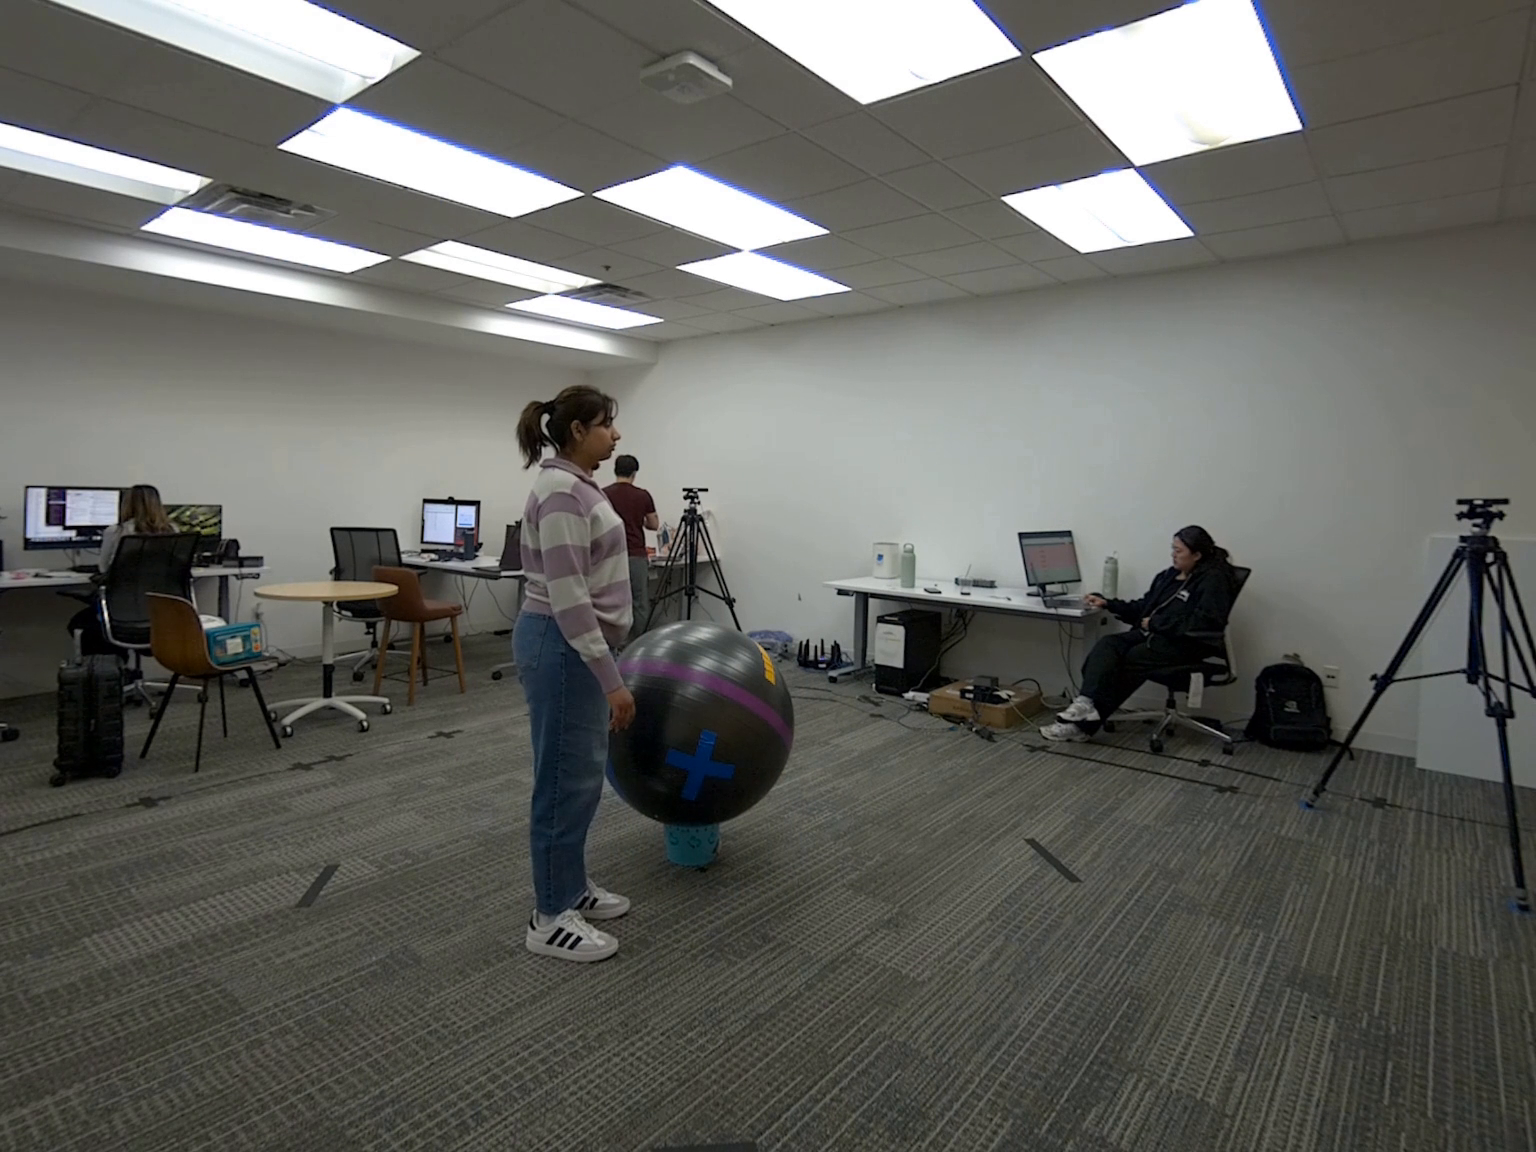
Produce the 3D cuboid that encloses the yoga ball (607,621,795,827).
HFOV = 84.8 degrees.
[{"bbox_3d":[-0.287,0.548,3.207,0.757,0.756,0.762,1,4,-2],"label":"yoga ball"}]
